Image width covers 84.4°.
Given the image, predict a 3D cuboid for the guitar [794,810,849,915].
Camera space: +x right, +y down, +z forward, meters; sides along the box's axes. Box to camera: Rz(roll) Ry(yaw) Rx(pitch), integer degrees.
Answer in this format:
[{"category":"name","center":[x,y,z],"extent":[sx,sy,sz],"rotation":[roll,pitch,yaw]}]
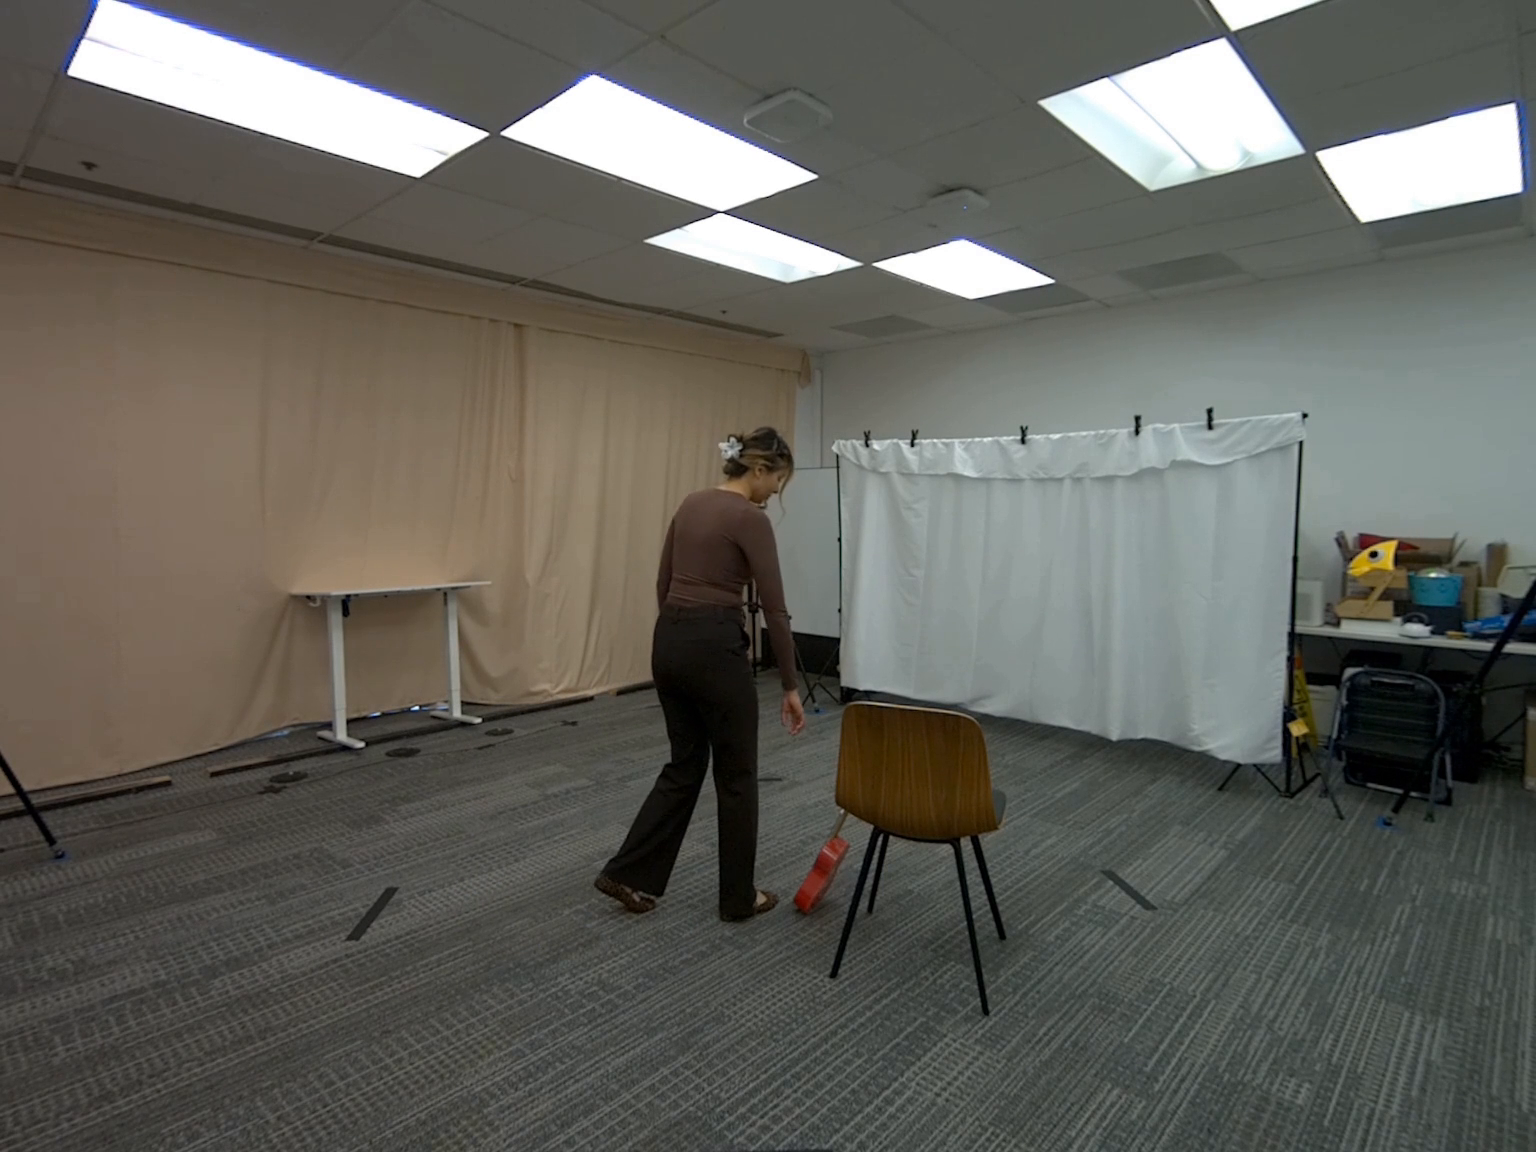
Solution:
[{"category":"guitar","center":[0.217,0.927,2.837],"extent":[0.073,0.496,0.188],"rotation":[30,22,22]}]
